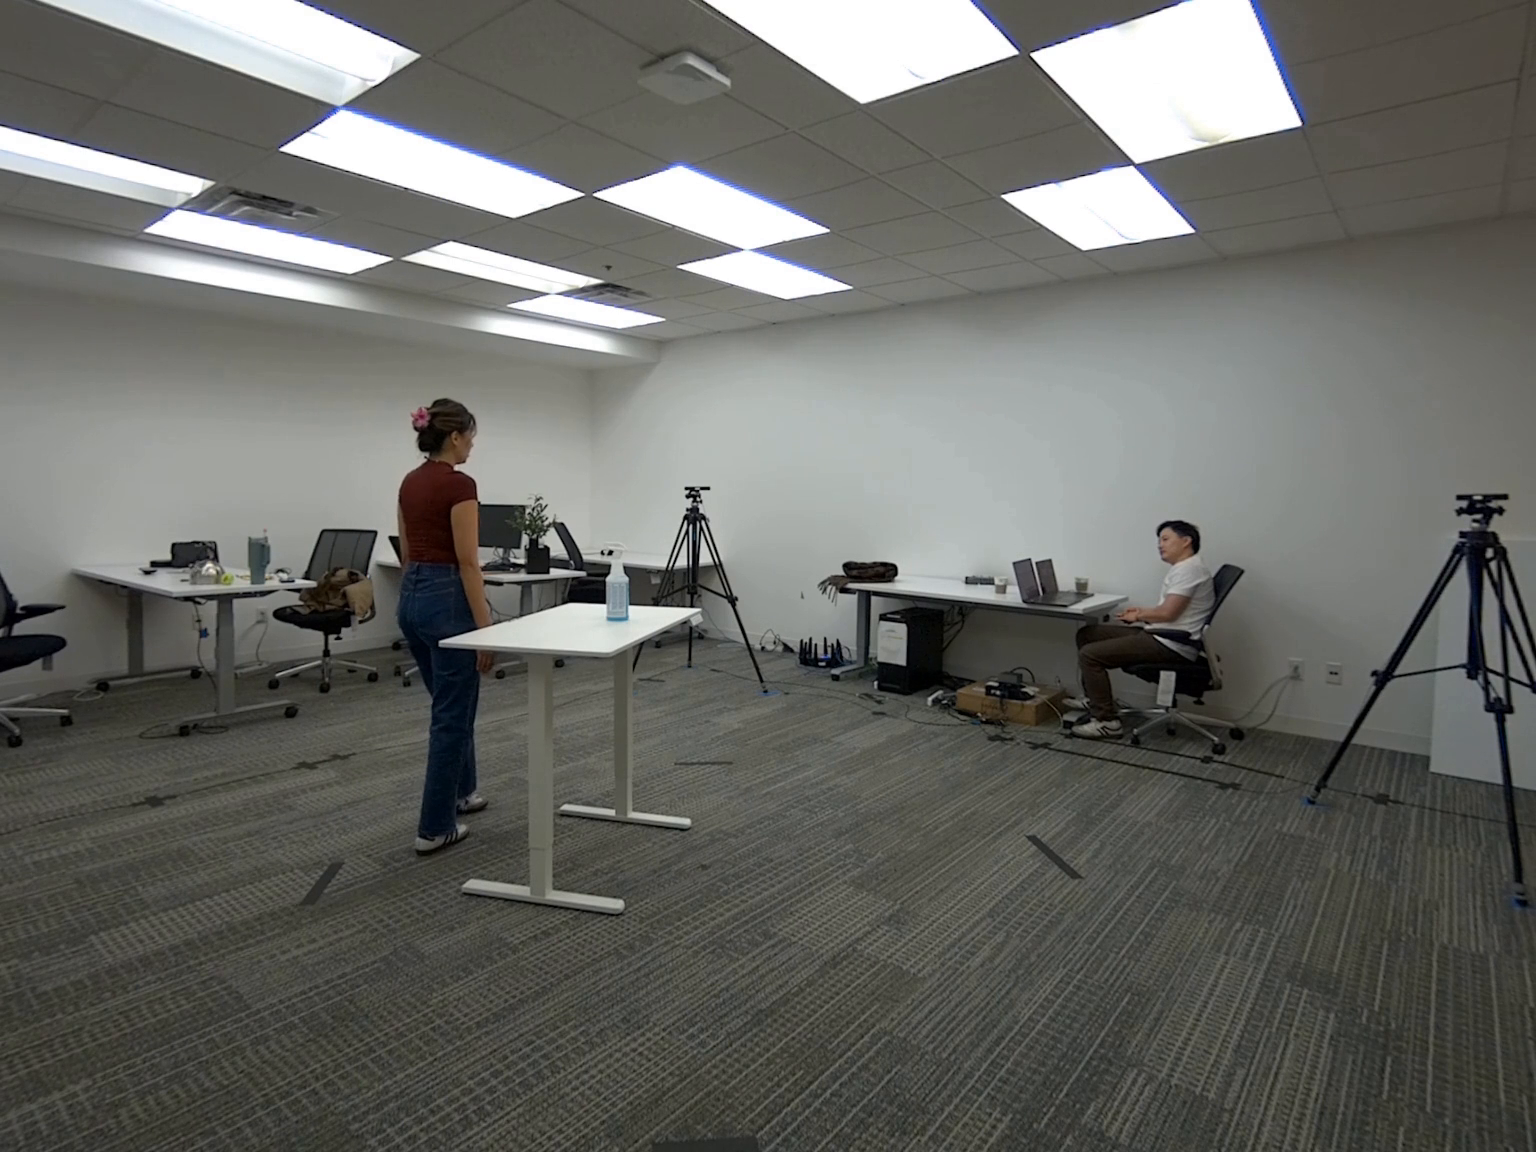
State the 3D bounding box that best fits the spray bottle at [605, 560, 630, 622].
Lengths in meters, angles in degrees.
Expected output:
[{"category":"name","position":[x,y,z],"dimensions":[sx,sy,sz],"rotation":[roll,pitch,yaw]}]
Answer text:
[{"category":"spray bottle","position":[-0.591,0.021,3.244],"dimensions":[0.092,0.297,0.085],"rotation":[-1,2,22]}]
